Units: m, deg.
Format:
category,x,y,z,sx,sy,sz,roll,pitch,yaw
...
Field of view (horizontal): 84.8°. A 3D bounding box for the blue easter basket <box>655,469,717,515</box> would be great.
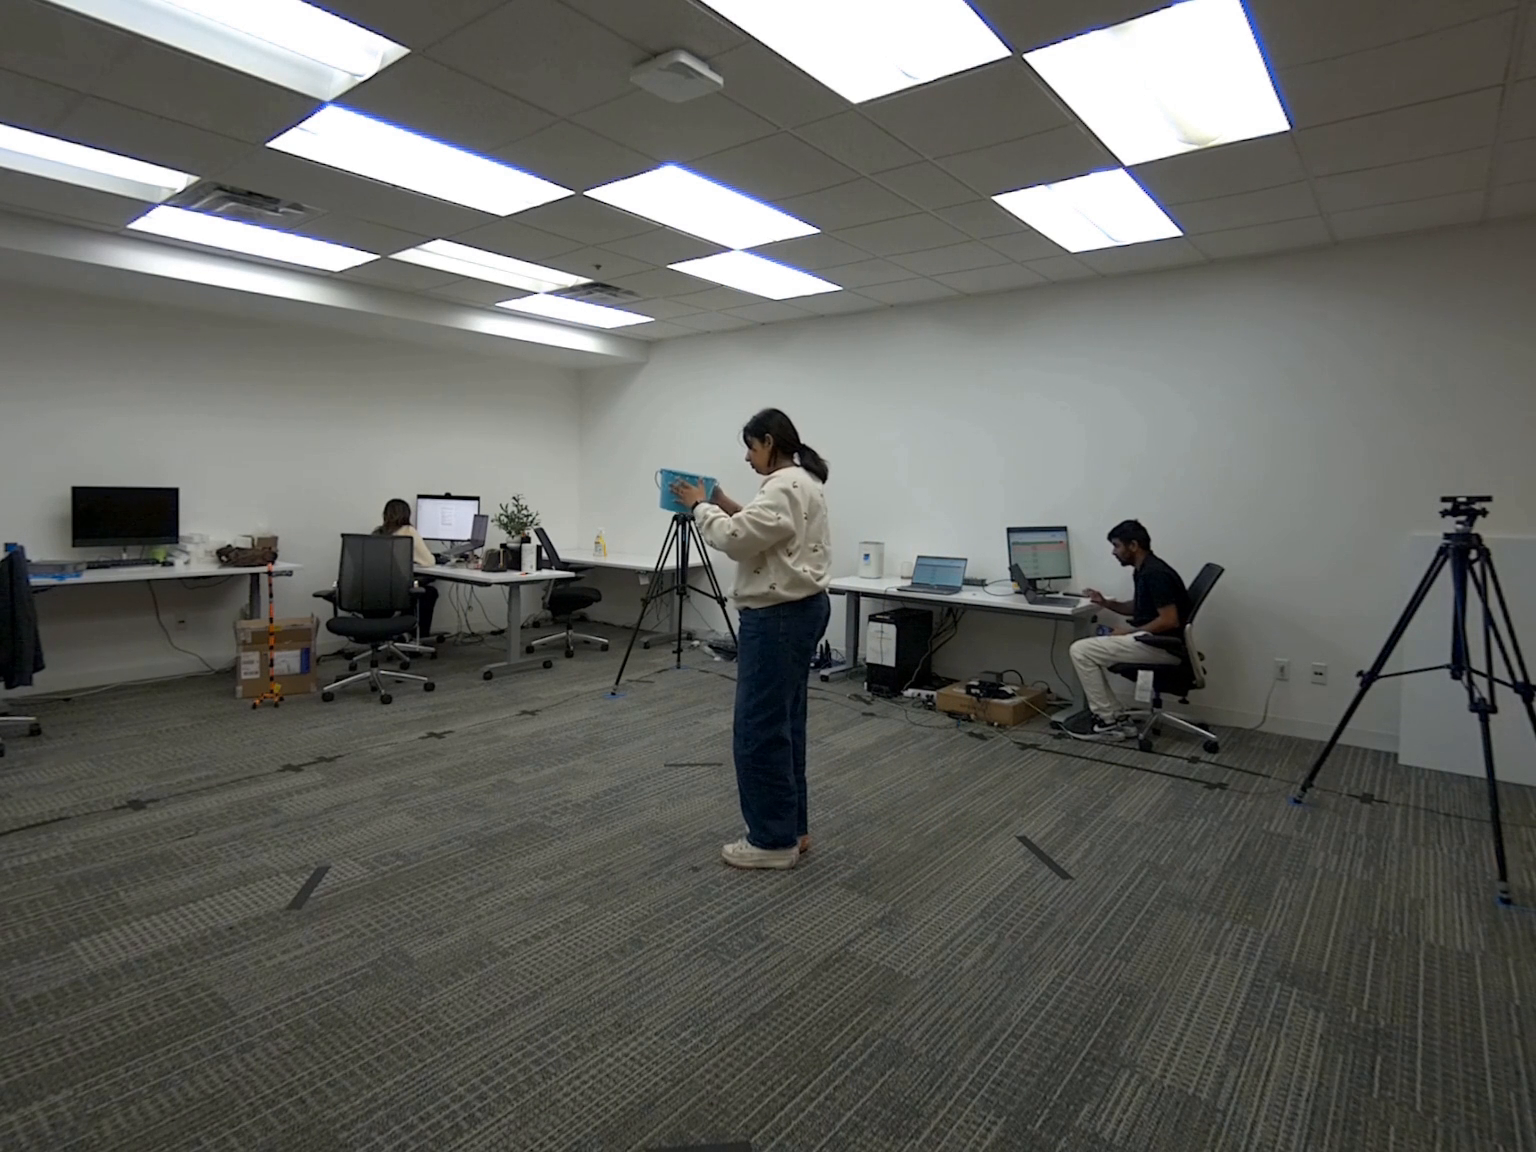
category,x,y,z,sx,sy,sz,roll,pitch,yaw
blue easter basket,-0.329,-0.332,3.342,0.243,0.155,0.245,10,7,-3
